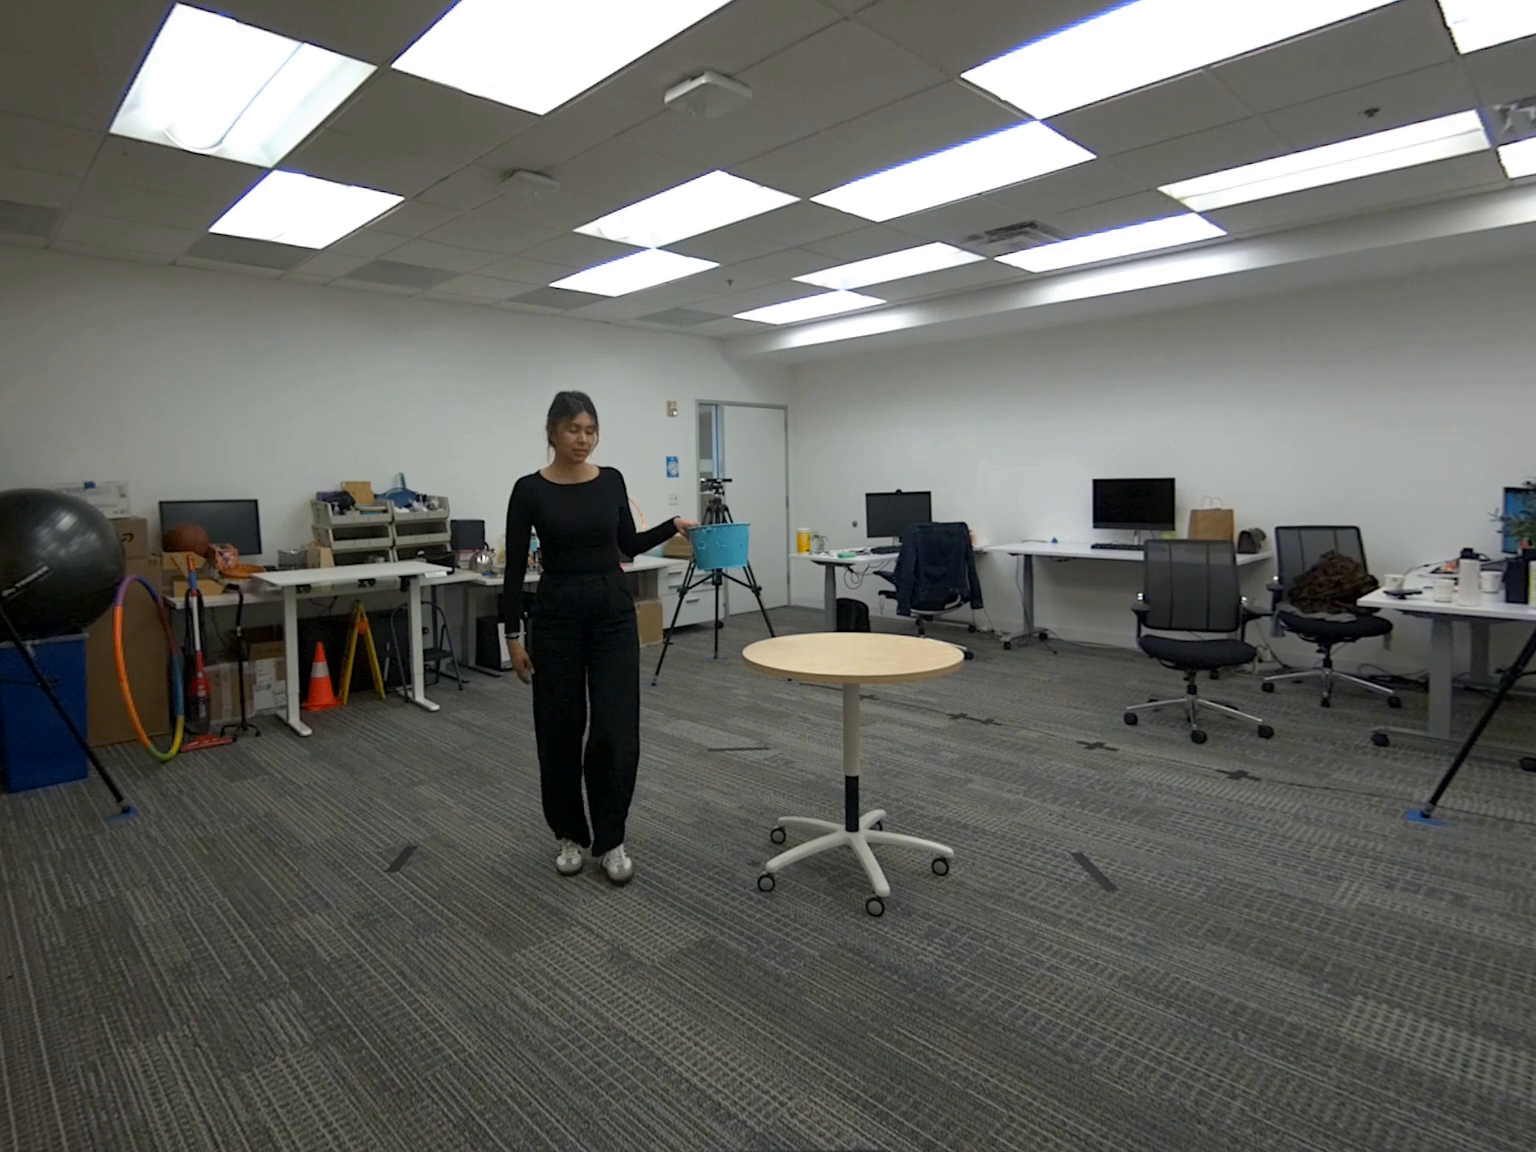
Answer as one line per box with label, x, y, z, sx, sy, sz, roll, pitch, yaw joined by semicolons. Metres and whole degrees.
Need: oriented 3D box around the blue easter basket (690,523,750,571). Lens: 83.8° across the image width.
blue easter basket;-0.196;-0.096;3.096;0.243;0.156;0.244;-4;1;-2
